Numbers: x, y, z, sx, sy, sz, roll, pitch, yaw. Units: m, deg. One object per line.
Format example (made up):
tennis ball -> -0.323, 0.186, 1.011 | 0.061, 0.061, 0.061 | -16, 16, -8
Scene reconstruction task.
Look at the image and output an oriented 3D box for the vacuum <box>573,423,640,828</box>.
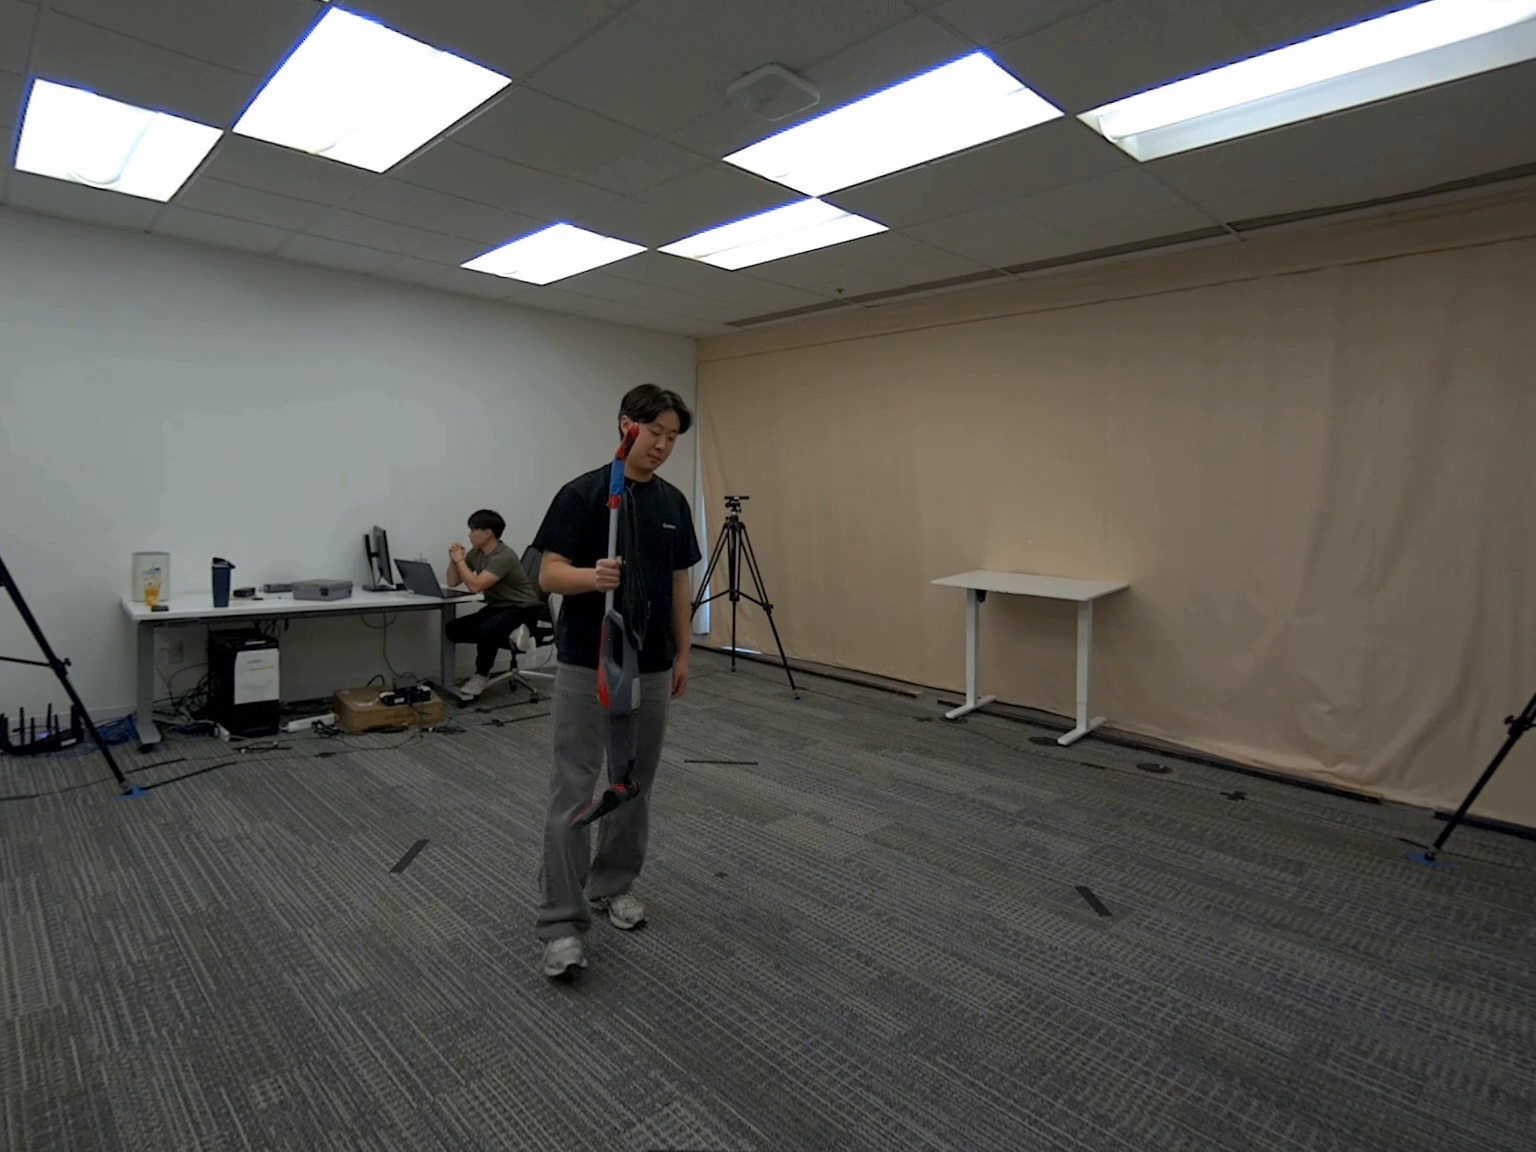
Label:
vacuum -> -0.406, 0.117, 2.318 | 0.146, 1.048, 0.248 | 6, 2, 21
